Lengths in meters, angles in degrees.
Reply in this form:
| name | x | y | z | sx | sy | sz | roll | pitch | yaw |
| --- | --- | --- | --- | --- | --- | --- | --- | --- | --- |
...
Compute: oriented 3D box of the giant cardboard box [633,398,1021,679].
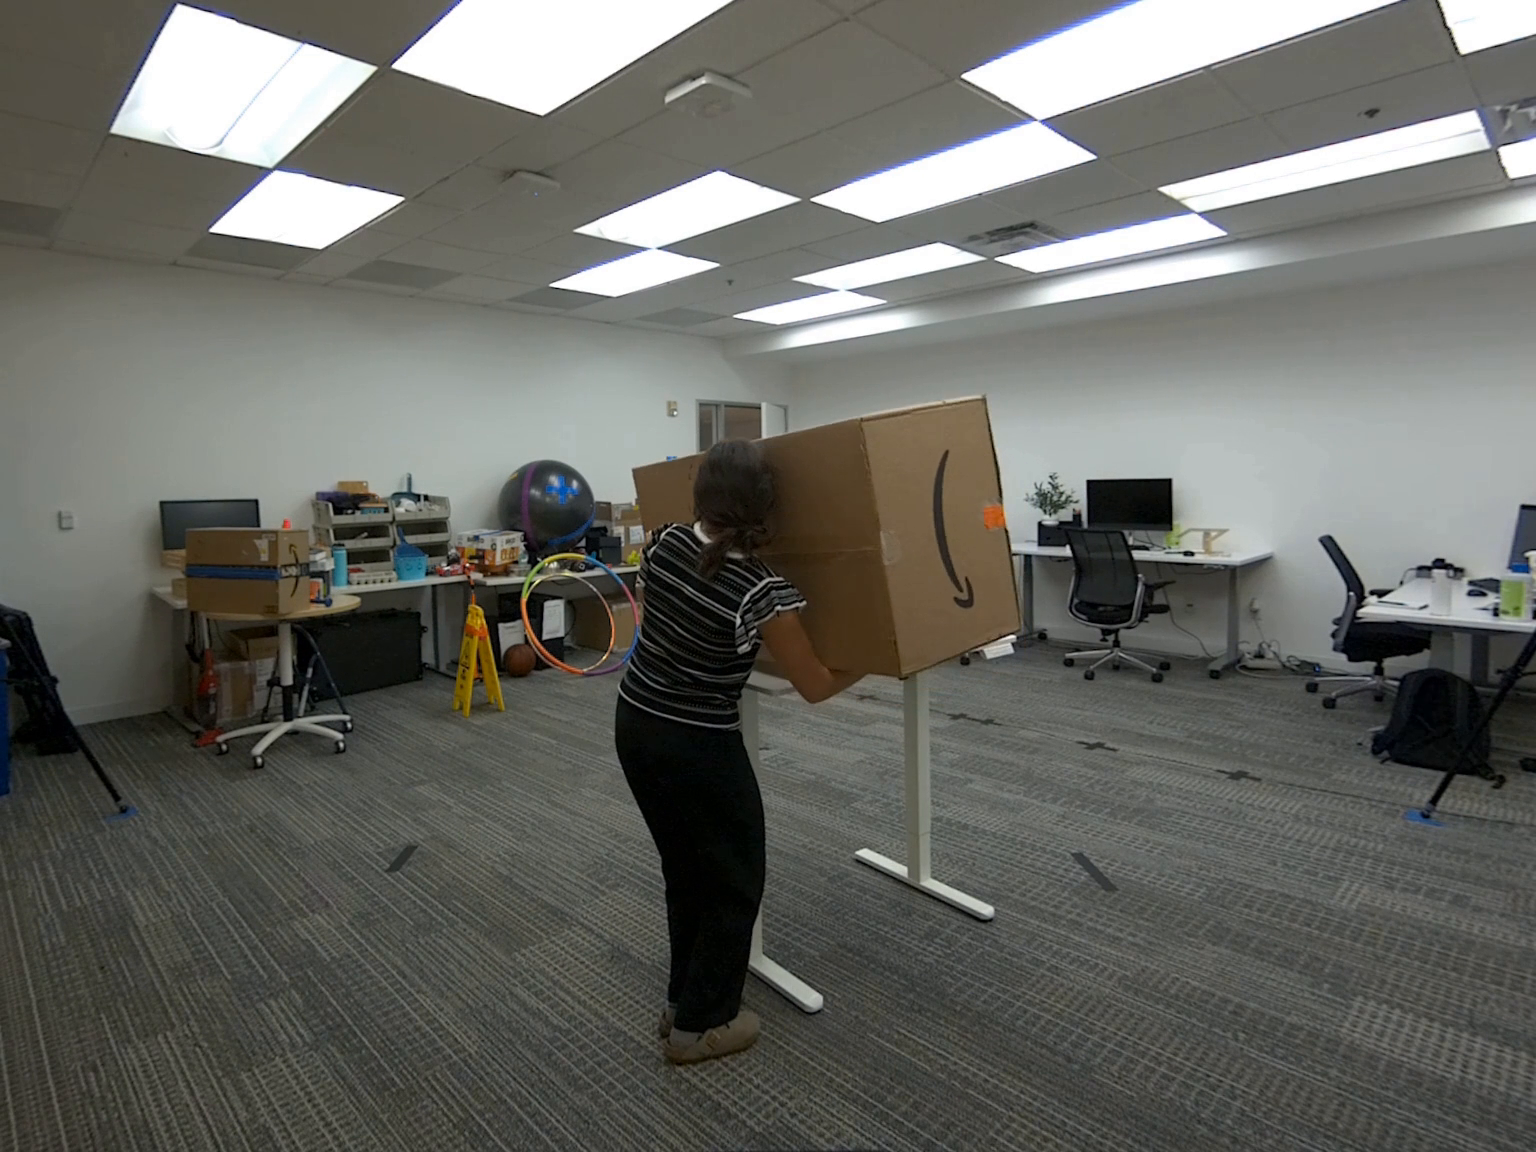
| name | x | y | z | sx | sy | sz | roll | pitch | yaw |
| --- | --- | --- | --- | --- | --- | --- | --- | --- | --- |
| giant cardboard box | 0.105 | -0.107 | 2.363 | 0.417 | 0.574 | 1.053 | -13 | 7 | -36 |
